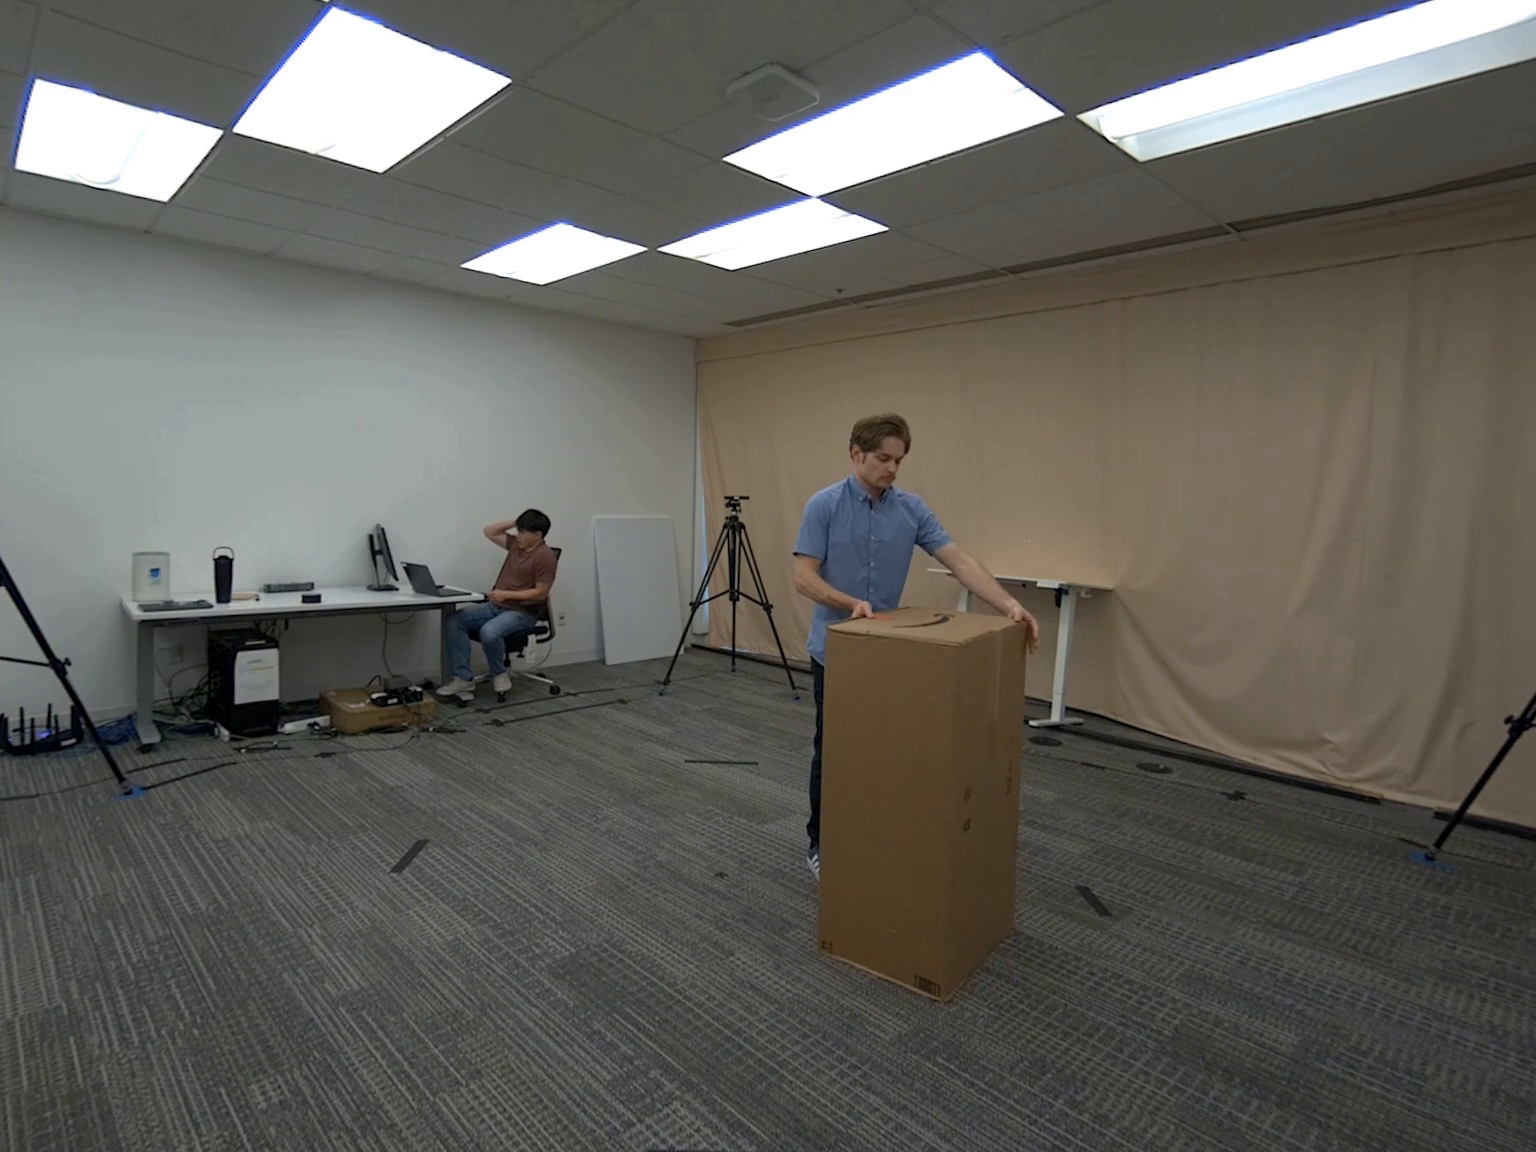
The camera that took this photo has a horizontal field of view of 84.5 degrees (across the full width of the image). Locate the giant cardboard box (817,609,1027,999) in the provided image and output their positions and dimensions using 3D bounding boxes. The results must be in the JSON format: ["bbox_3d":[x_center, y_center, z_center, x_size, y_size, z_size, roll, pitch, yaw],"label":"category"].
[{"bbox_3d":[0.490,0.655,2.653,0.437,1.023,0.565,4,5,37],"label":"giant cardboard box"}]
